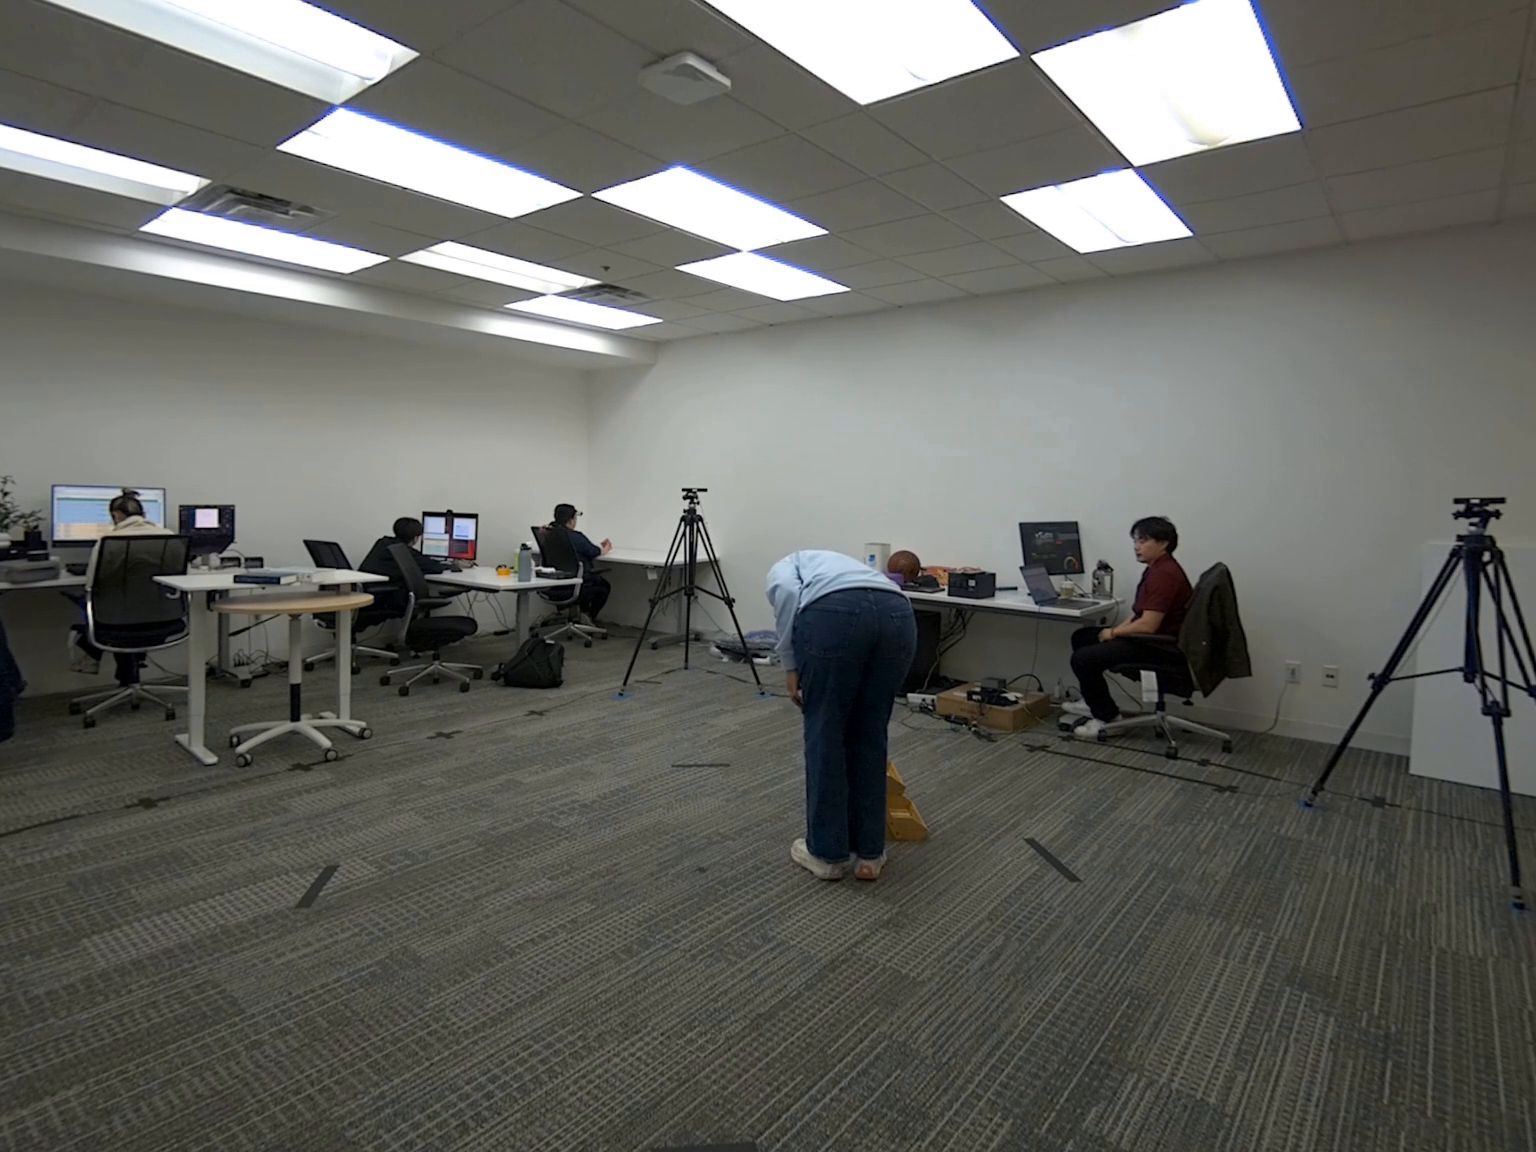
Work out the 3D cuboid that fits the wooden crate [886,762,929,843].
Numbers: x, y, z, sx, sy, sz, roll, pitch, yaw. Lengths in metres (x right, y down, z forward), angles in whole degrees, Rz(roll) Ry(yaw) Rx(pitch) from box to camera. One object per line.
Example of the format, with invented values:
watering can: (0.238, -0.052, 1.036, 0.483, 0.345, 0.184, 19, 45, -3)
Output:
wooden crate: (0.485, 0.907, 3.561, 0.302, 0.272, 0.325, 0, 5, 0)
